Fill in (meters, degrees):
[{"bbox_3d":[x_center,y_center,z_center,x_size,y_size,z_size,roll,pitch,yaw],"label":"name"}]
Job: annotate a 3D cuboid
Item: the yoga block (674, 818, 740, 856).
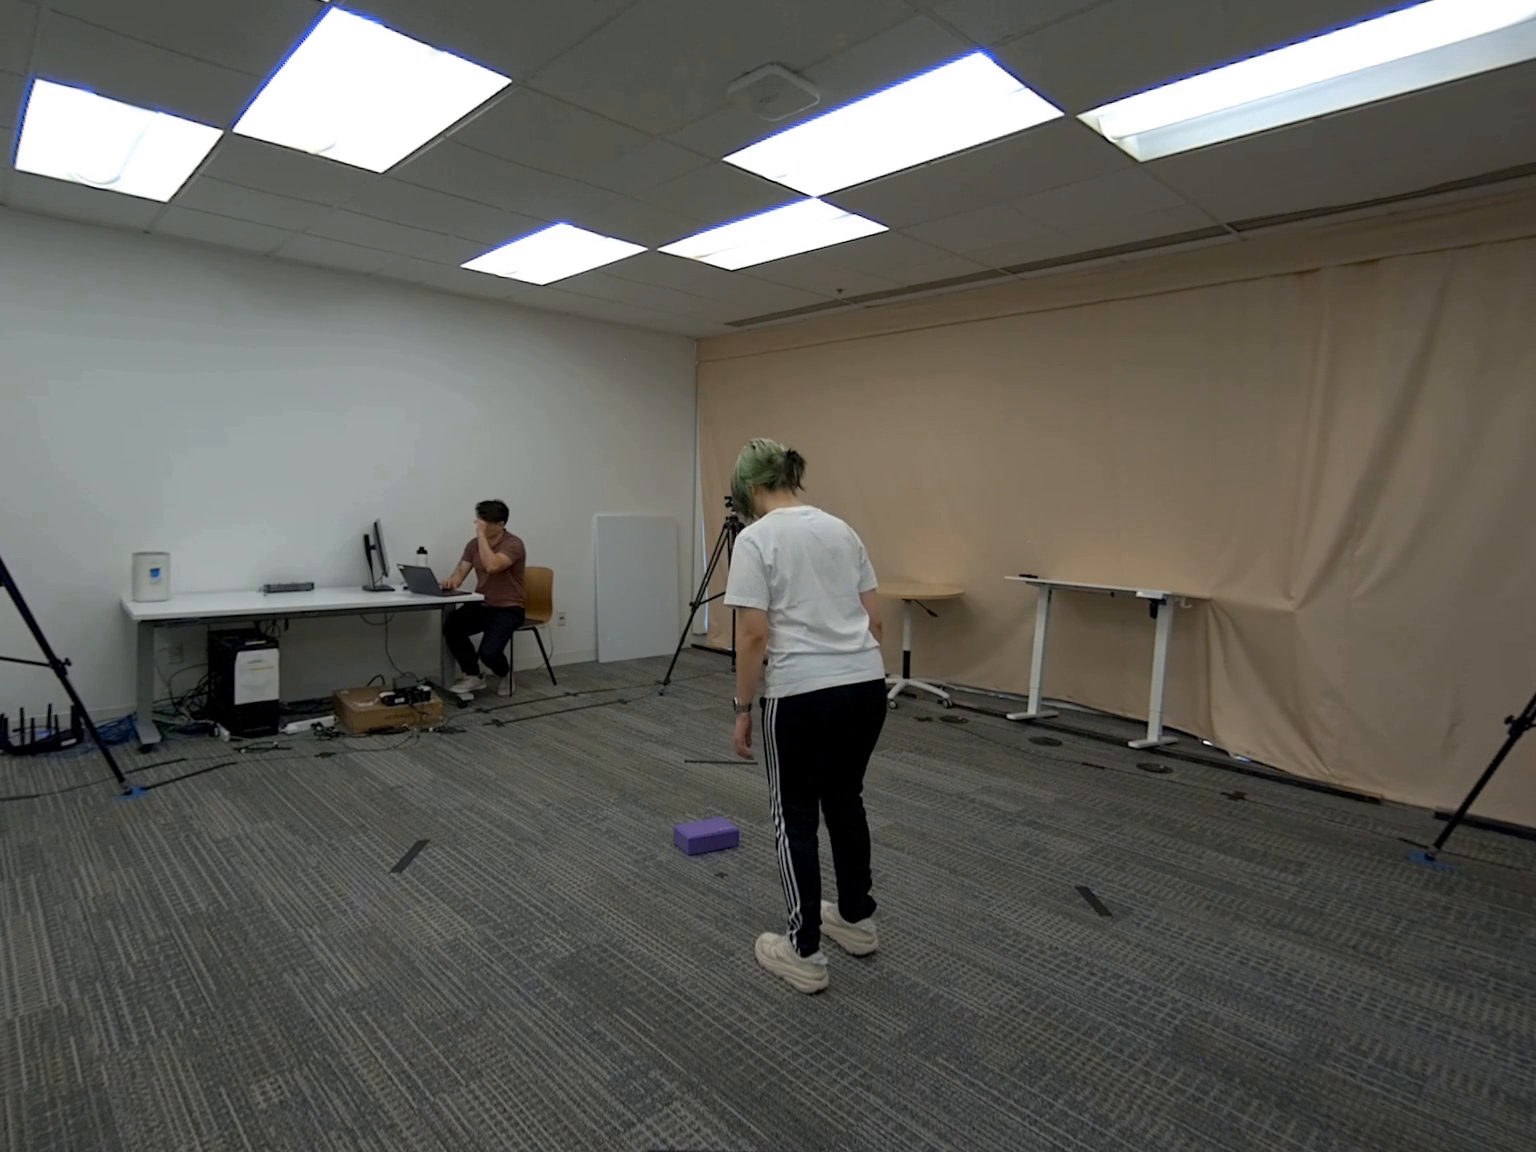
[{"bbox_3d":[-0.253,1.038,3.367,0.225,0.076,0.152,-2,5,-30],"label":"yoga block"}]
